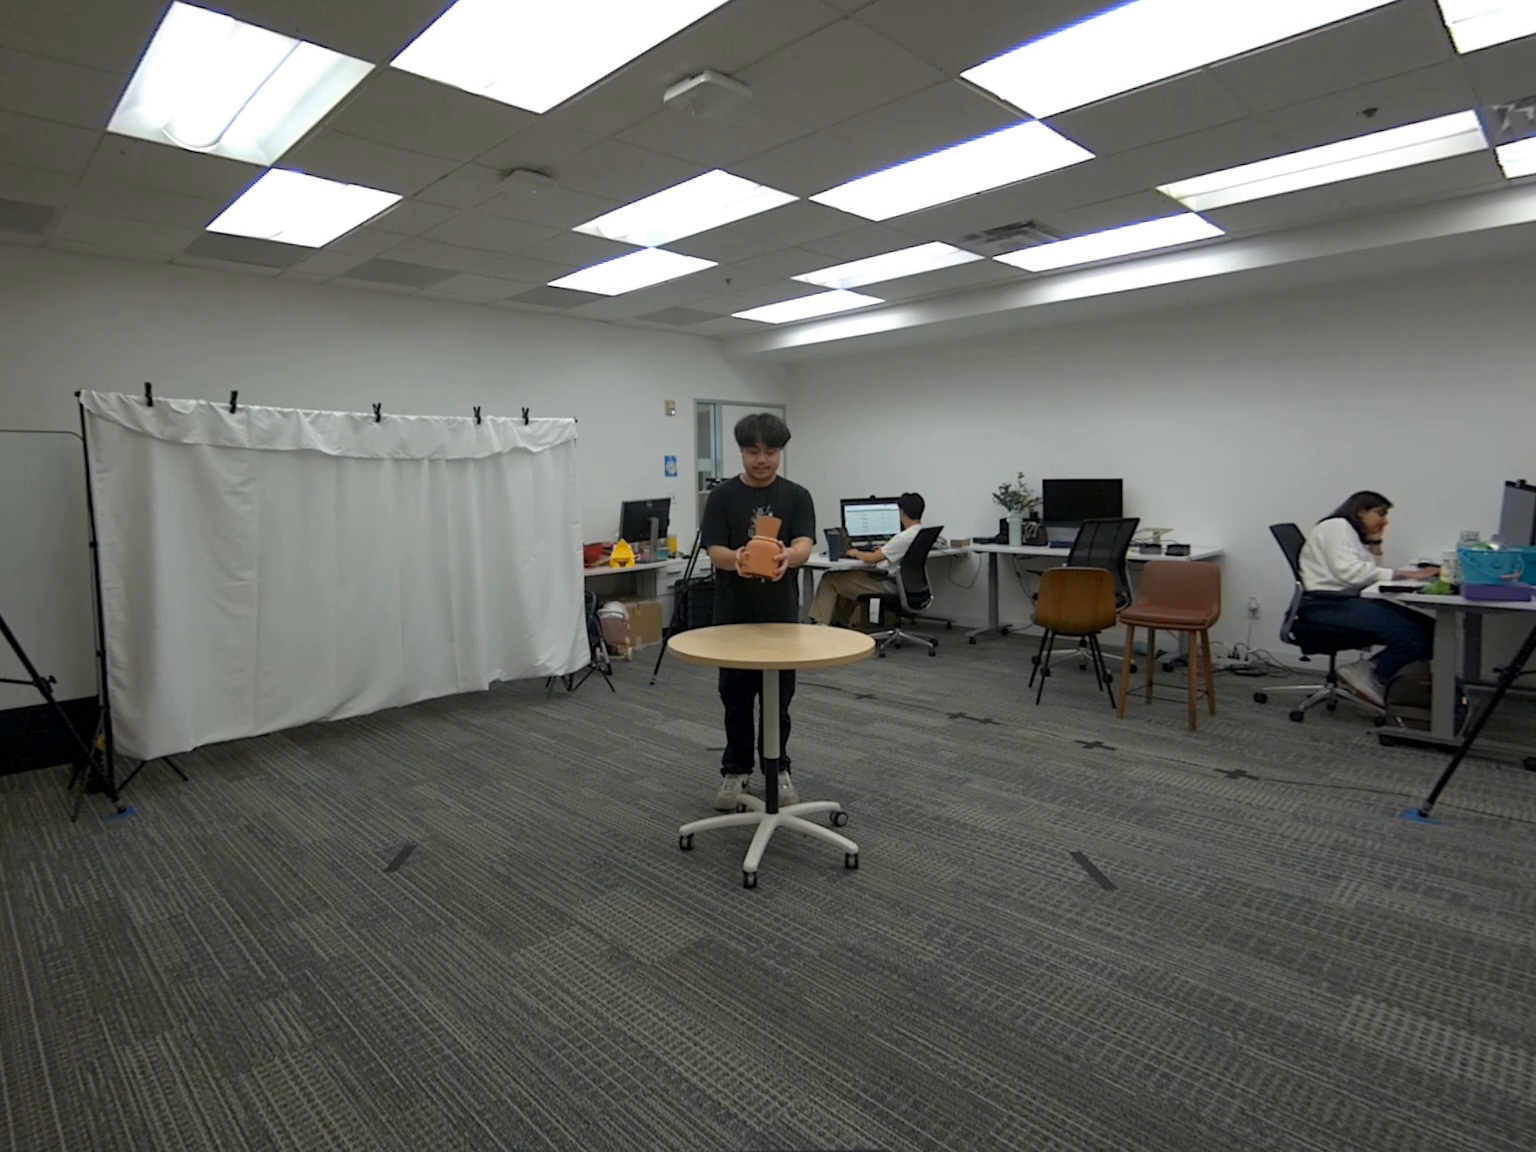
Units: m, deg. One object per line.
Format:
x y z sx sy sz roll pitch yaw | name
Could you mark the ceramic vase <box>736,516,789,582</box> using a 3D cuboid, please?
-0.013 -0.111 3.239 0.137 0.221 0.155 9 -6 14 | ceramic vase
